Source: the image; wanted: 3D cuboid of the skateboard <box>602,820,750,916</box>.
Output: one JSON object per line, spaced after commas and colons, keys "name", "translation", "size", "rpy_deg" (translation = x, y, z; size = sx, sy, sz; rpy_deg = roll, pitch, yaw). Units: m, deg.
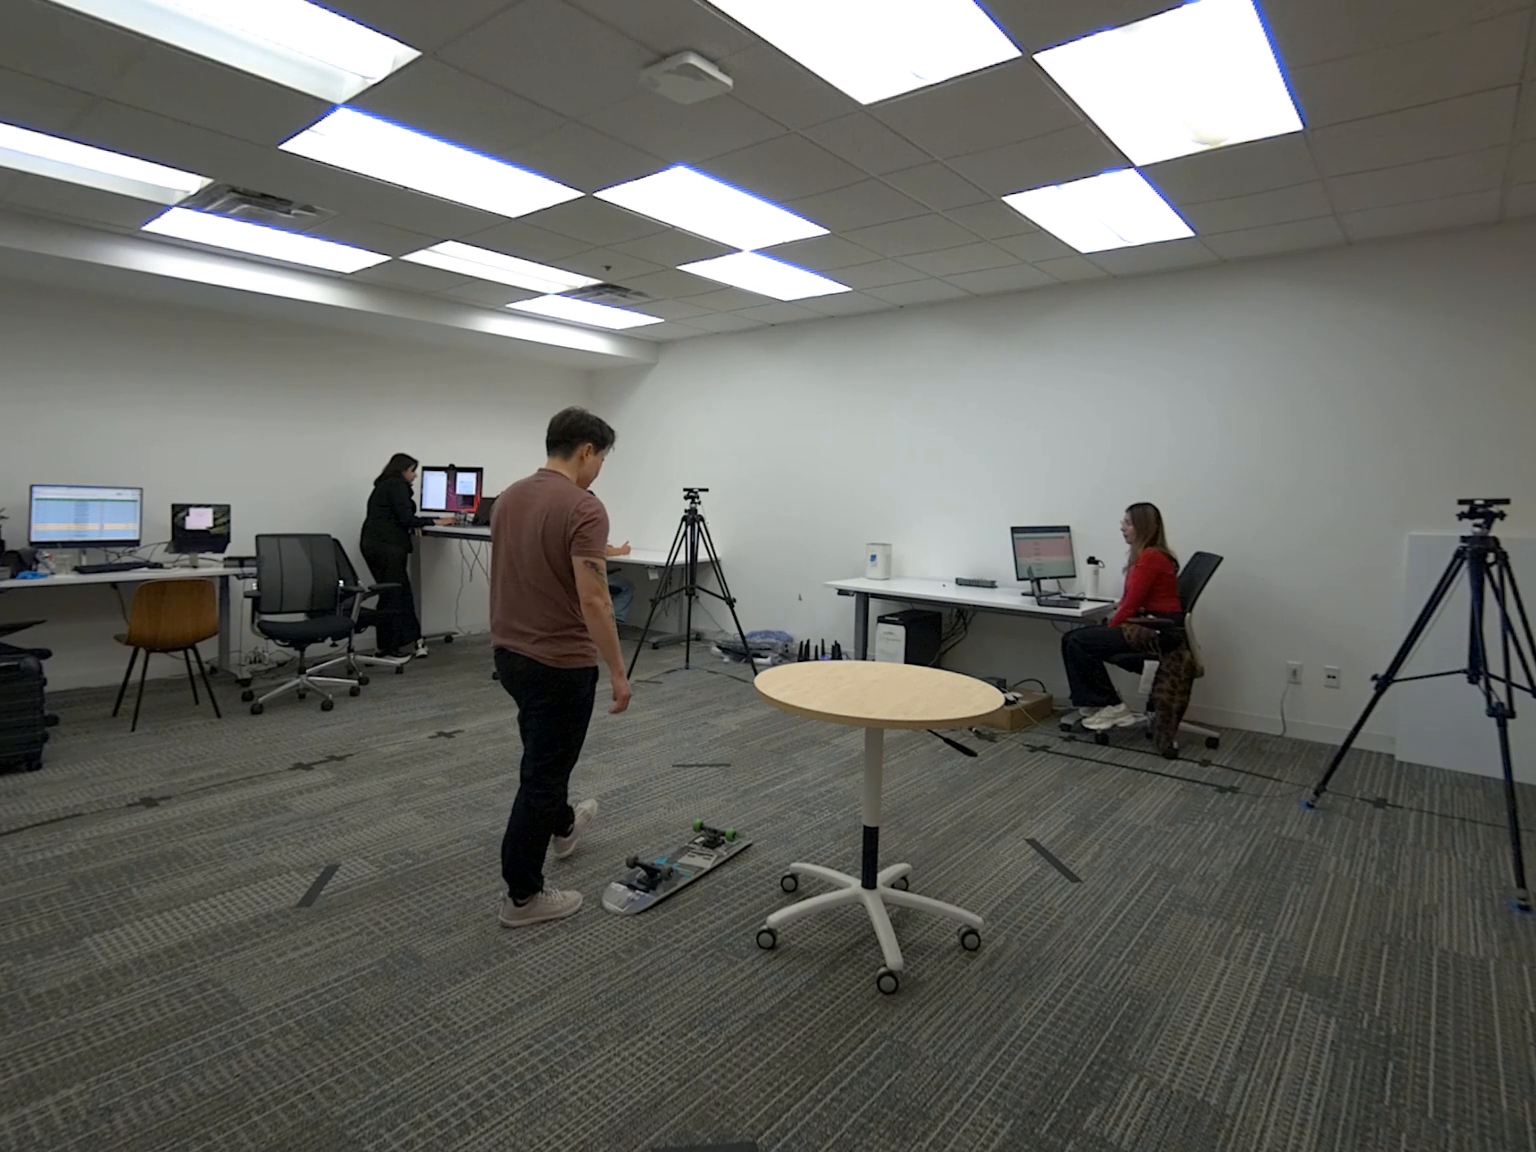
{"name": "skateboard", "translation": [-0.317, 1.018, 3.093], "size": [0.199, 0.110, 0.765], "rpy_deg": [5, 7, 31]}
